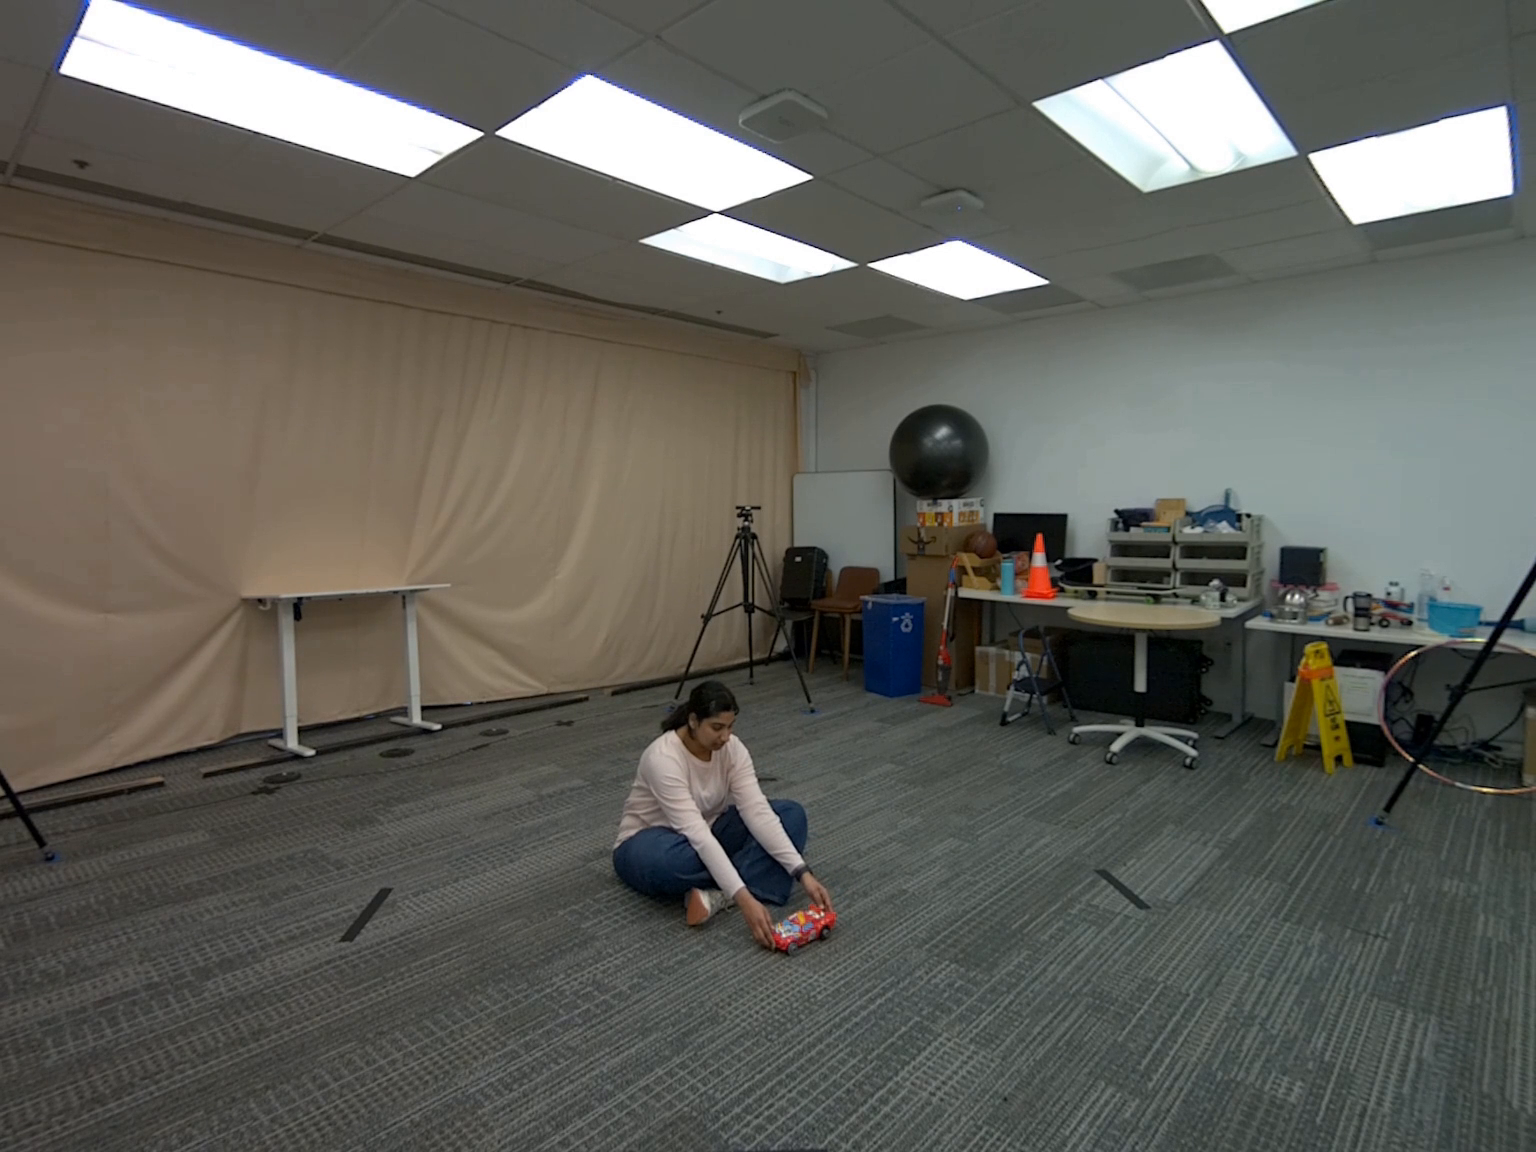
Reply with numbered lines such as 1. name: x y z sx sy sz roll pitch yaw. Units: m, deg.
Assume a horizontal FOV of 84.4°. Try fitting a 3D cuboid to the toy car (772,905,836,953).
1. toy car: 0.115 1.124 2.706 0.248 0.082 0.134 -19 15 -37
